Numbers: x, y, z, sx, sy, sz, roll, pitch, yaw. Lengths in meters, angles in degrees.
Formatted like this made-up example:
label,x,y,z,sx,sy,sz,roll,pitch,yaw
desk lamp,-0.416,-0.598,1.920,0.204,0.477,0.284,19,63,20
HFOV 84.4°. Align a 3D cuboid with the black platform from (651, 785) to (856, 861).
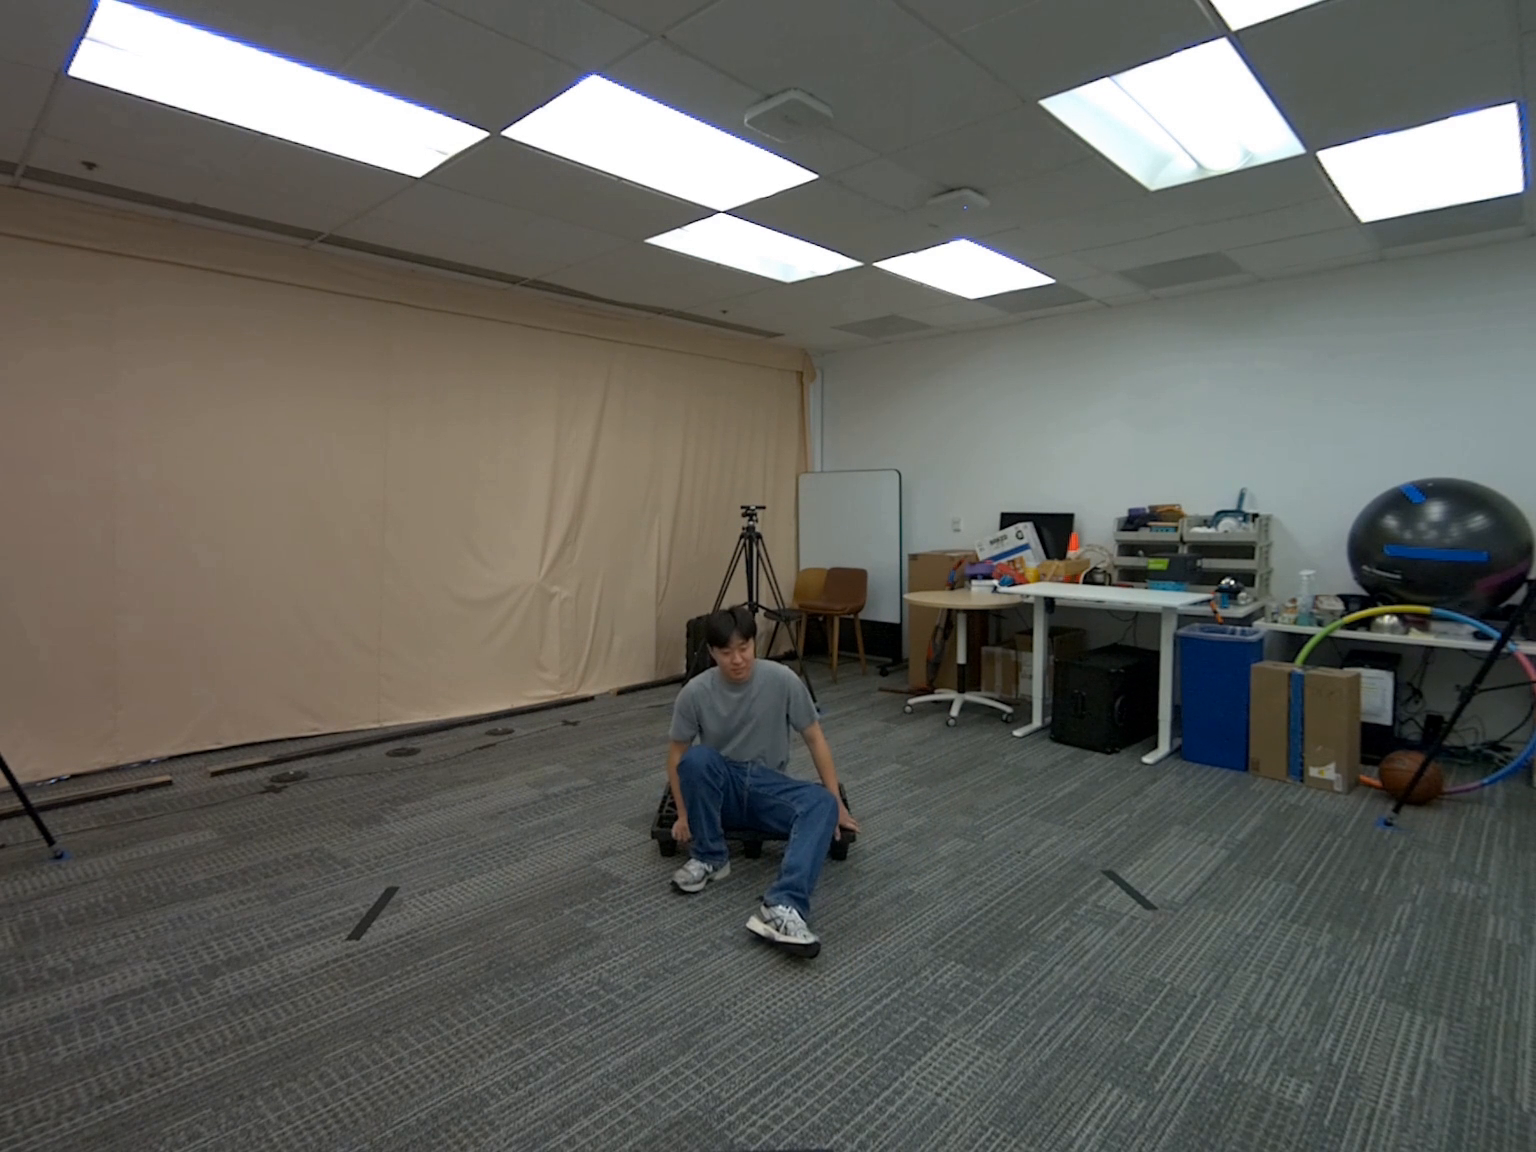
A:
label,x,y,z,sx,sy,sz,roll,pitch,yaw
black platform,-0.054,1.024,3.547,0.808,0.143,0.605,0,5,2
